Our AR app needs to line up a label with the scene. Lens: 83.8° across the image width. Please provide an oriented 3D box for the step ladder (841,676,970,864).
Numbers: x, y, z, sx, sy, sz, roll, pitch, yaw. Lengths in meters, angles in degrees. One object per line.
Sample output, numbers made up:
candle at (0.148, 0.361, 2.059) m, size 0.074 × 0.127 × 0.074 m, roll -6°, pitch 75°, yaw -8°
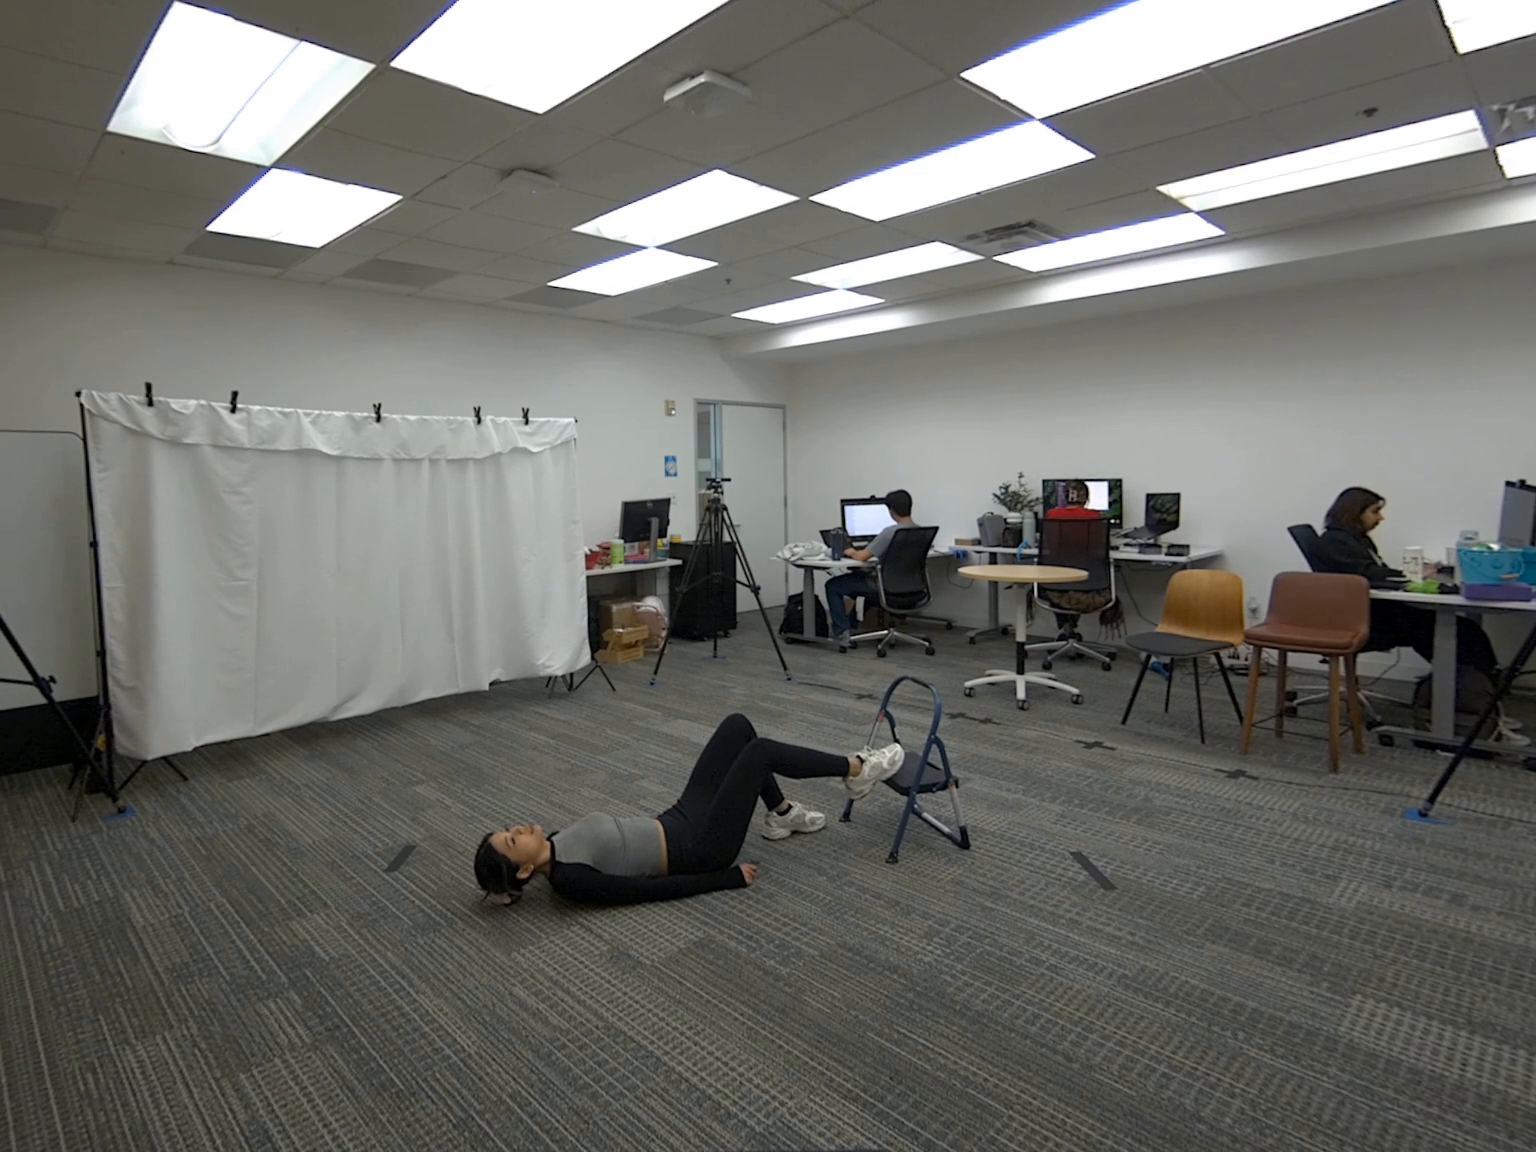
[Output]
step ladder at (0.522, 0.708, 3.315) m, size 0.343 × 0.604 × 0.440 m, roll -3°, pitch 5°, yaw -20°
